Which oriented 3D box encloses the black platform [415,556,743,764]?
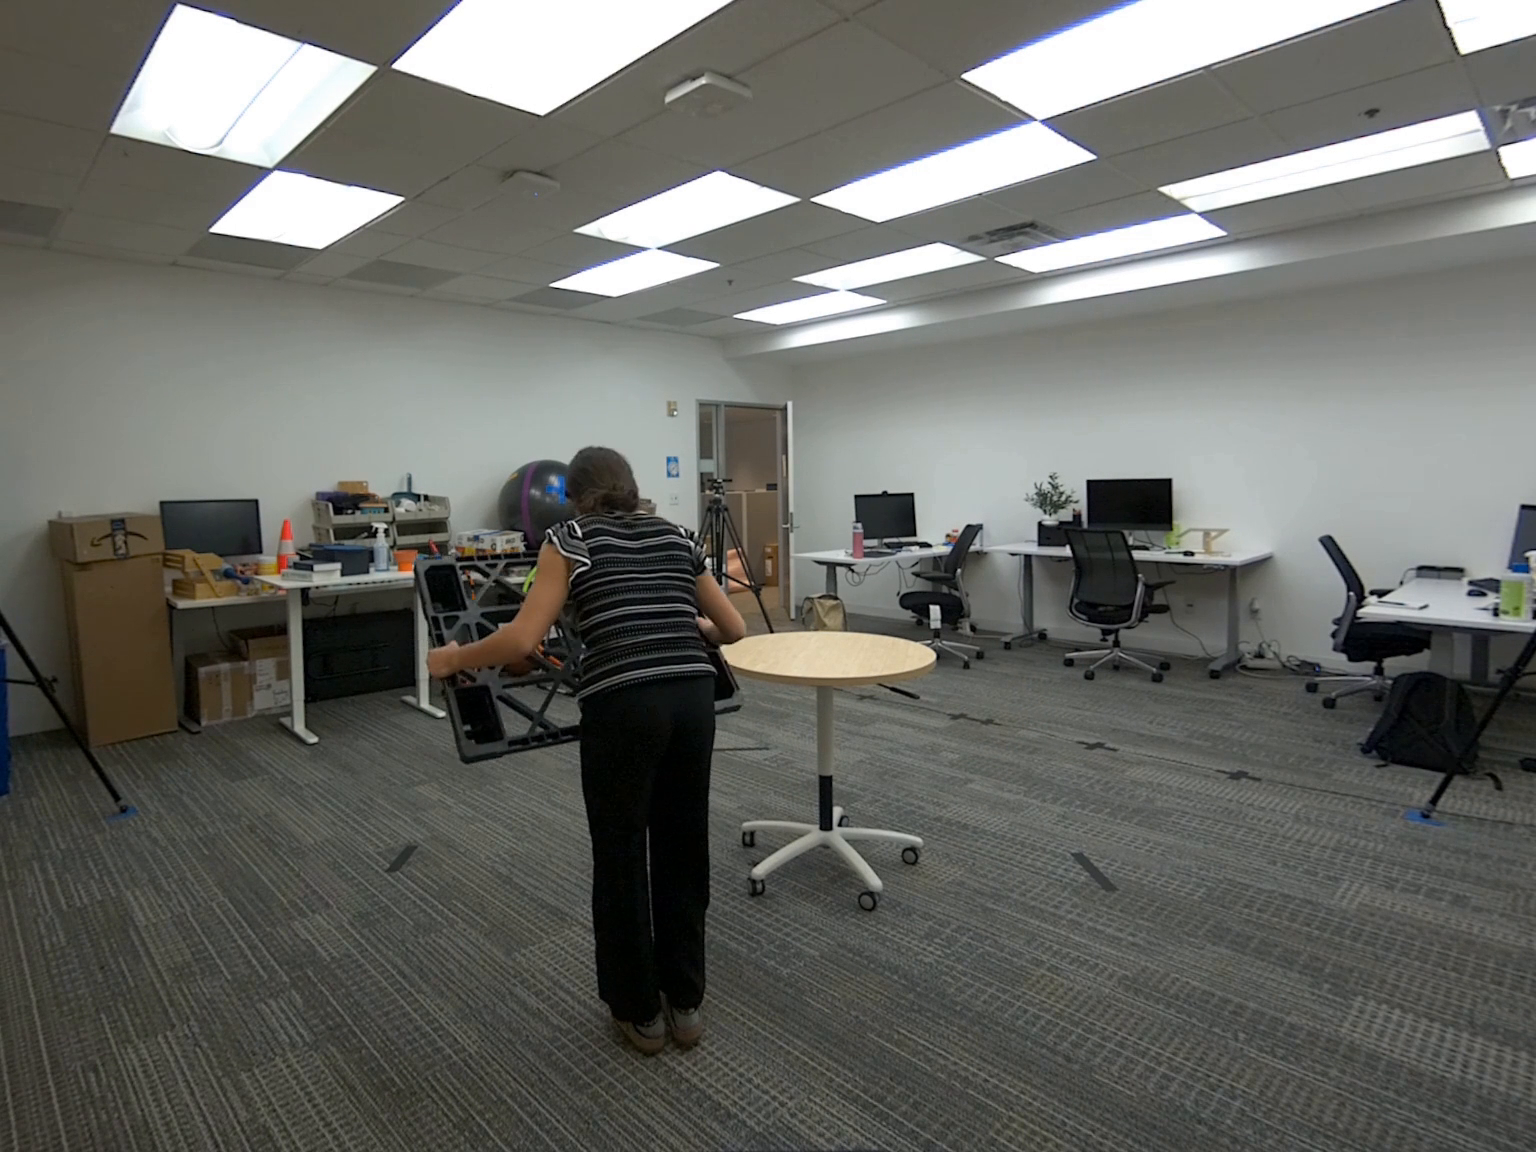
[{"bbox_3d":[-0.529,0.200,2.392,0.786,0.626,0.142,-5,-38,-34],"label":"black platform"}]
